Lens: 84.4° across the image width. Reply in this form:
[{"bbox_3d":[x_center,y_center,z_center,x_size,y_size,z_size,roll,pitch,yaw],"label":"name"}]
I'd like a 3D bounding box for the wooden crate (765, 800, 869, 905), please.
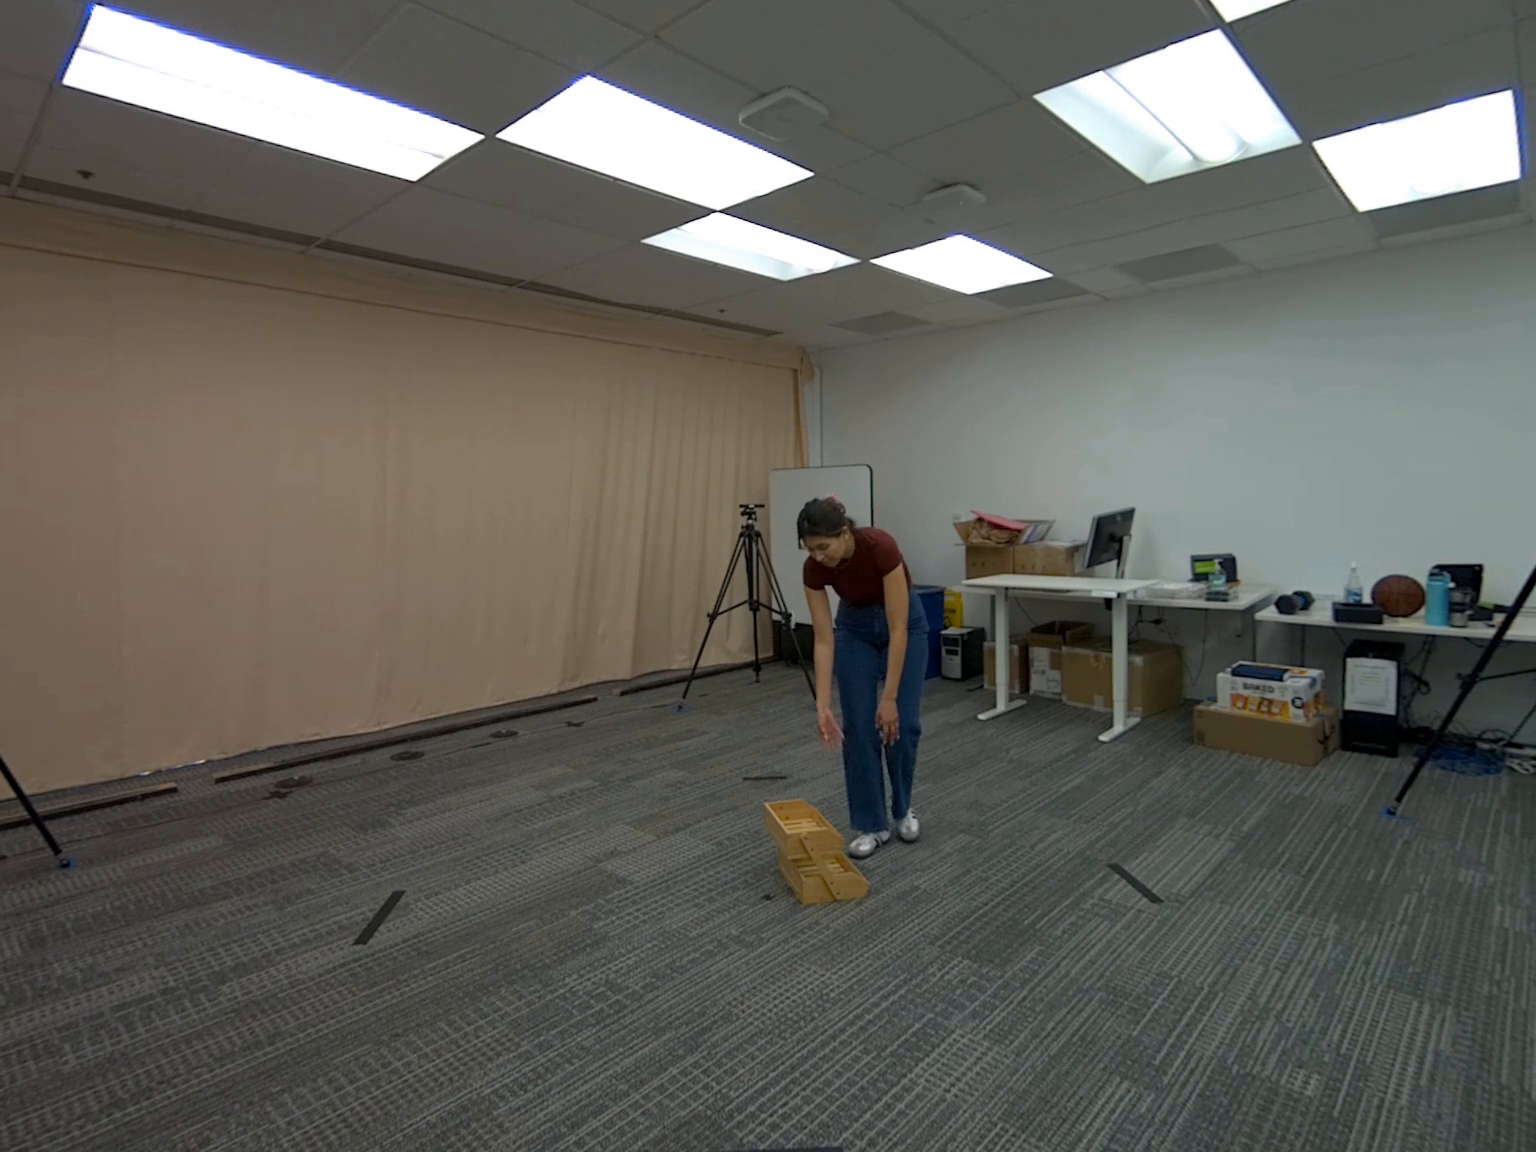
[{"bbox_3d":[0.180,0.992,3.081,0.297,0.273,0.330,-2,4,-15],"label":"wooden crate"}]
